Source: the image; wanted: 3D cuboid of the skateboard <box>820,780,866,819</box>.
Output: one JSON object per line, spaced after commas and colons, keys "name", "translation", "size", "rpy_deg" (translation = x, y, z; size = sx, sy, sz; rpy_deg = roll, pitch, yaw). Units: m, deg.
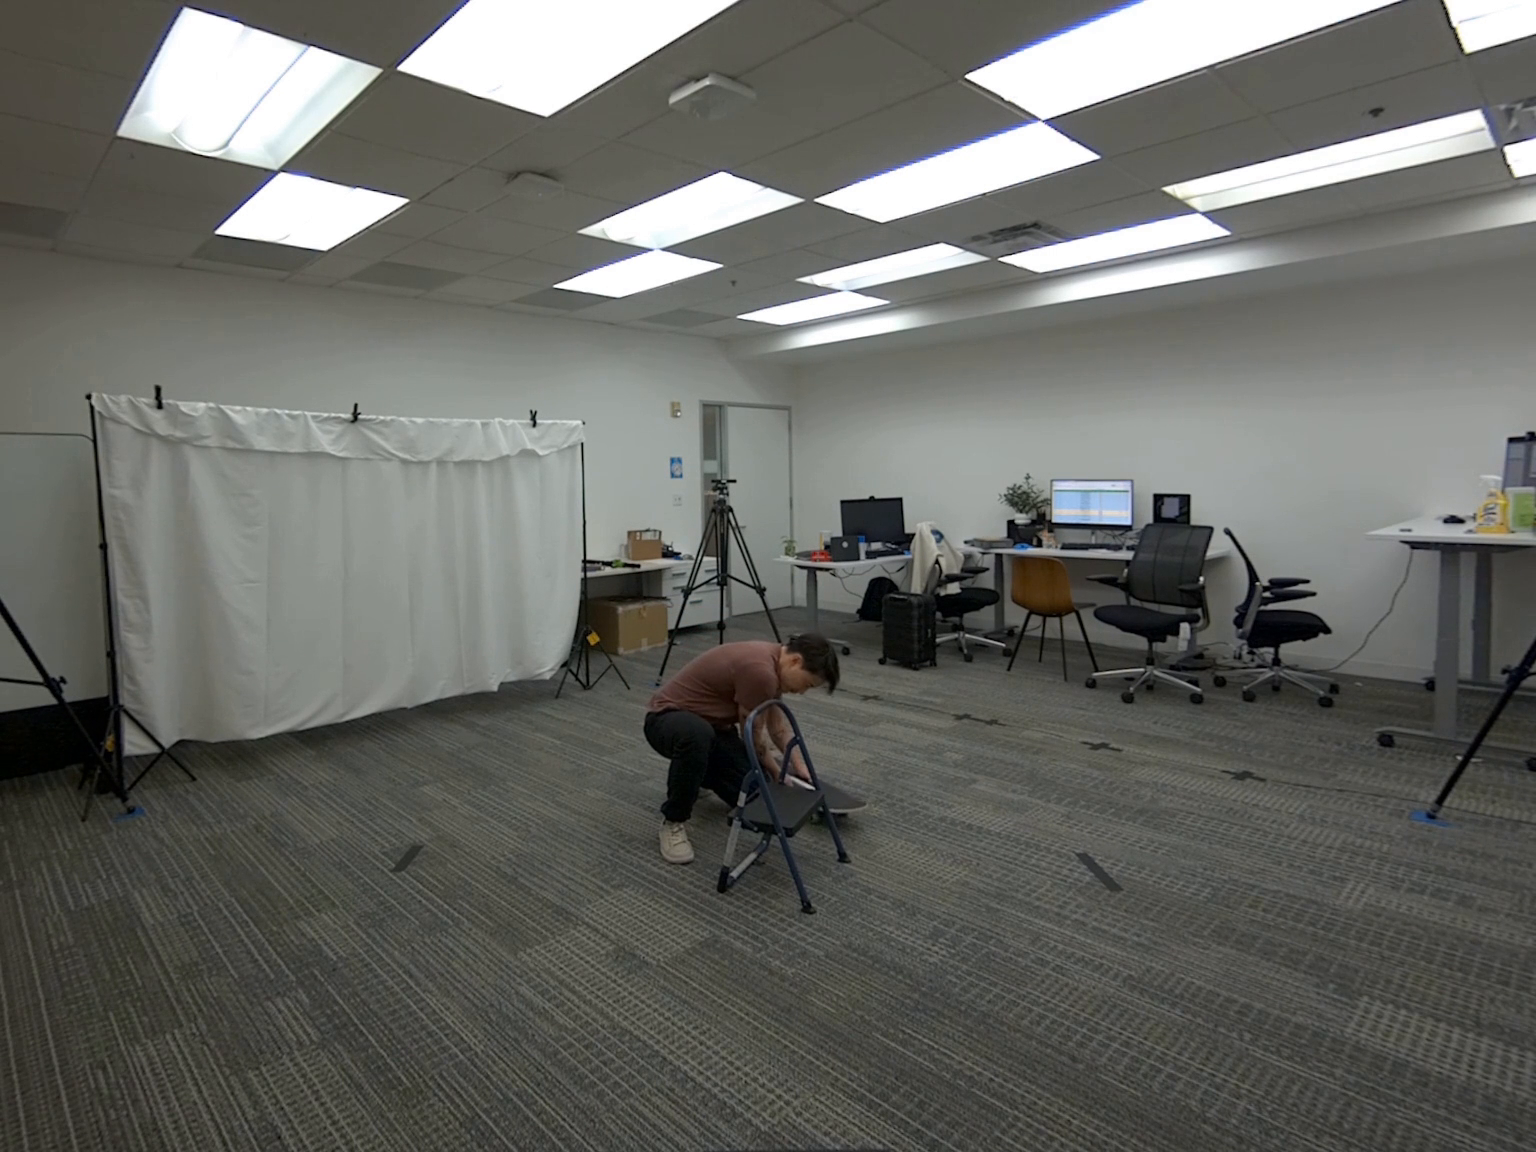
{"name": "skateboard", "translation": [0.138, 0.920, 3.672], "size": [0.188, 0.110, 0.808], "rpy_deg": [-2, 6, -32]}
